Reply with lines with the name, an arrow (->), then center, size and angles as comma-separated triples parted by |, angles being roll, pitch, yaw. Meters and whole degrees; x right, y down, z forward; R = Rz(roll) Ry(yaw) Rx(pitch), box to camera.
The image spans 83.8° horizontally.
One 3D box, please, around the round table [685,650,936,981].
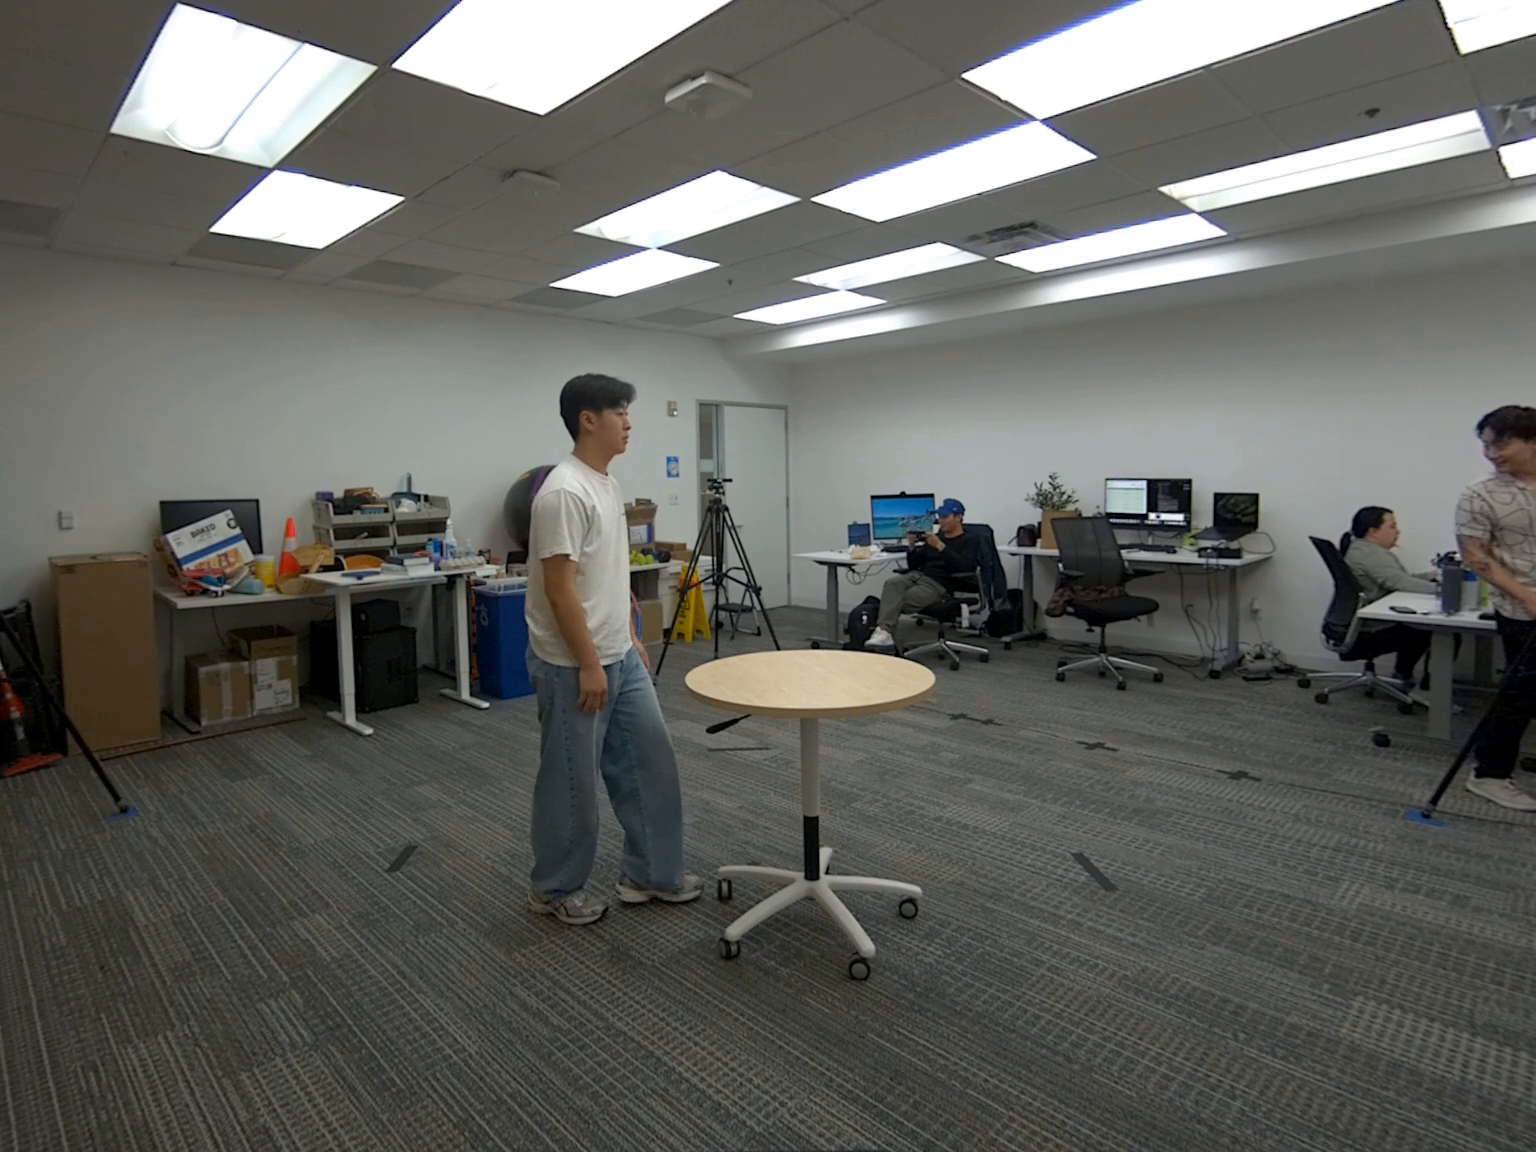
round table -> 0.141, 0.692, 2.688 | 0.784, 0.783, 0.789 | -2, 5, -2
